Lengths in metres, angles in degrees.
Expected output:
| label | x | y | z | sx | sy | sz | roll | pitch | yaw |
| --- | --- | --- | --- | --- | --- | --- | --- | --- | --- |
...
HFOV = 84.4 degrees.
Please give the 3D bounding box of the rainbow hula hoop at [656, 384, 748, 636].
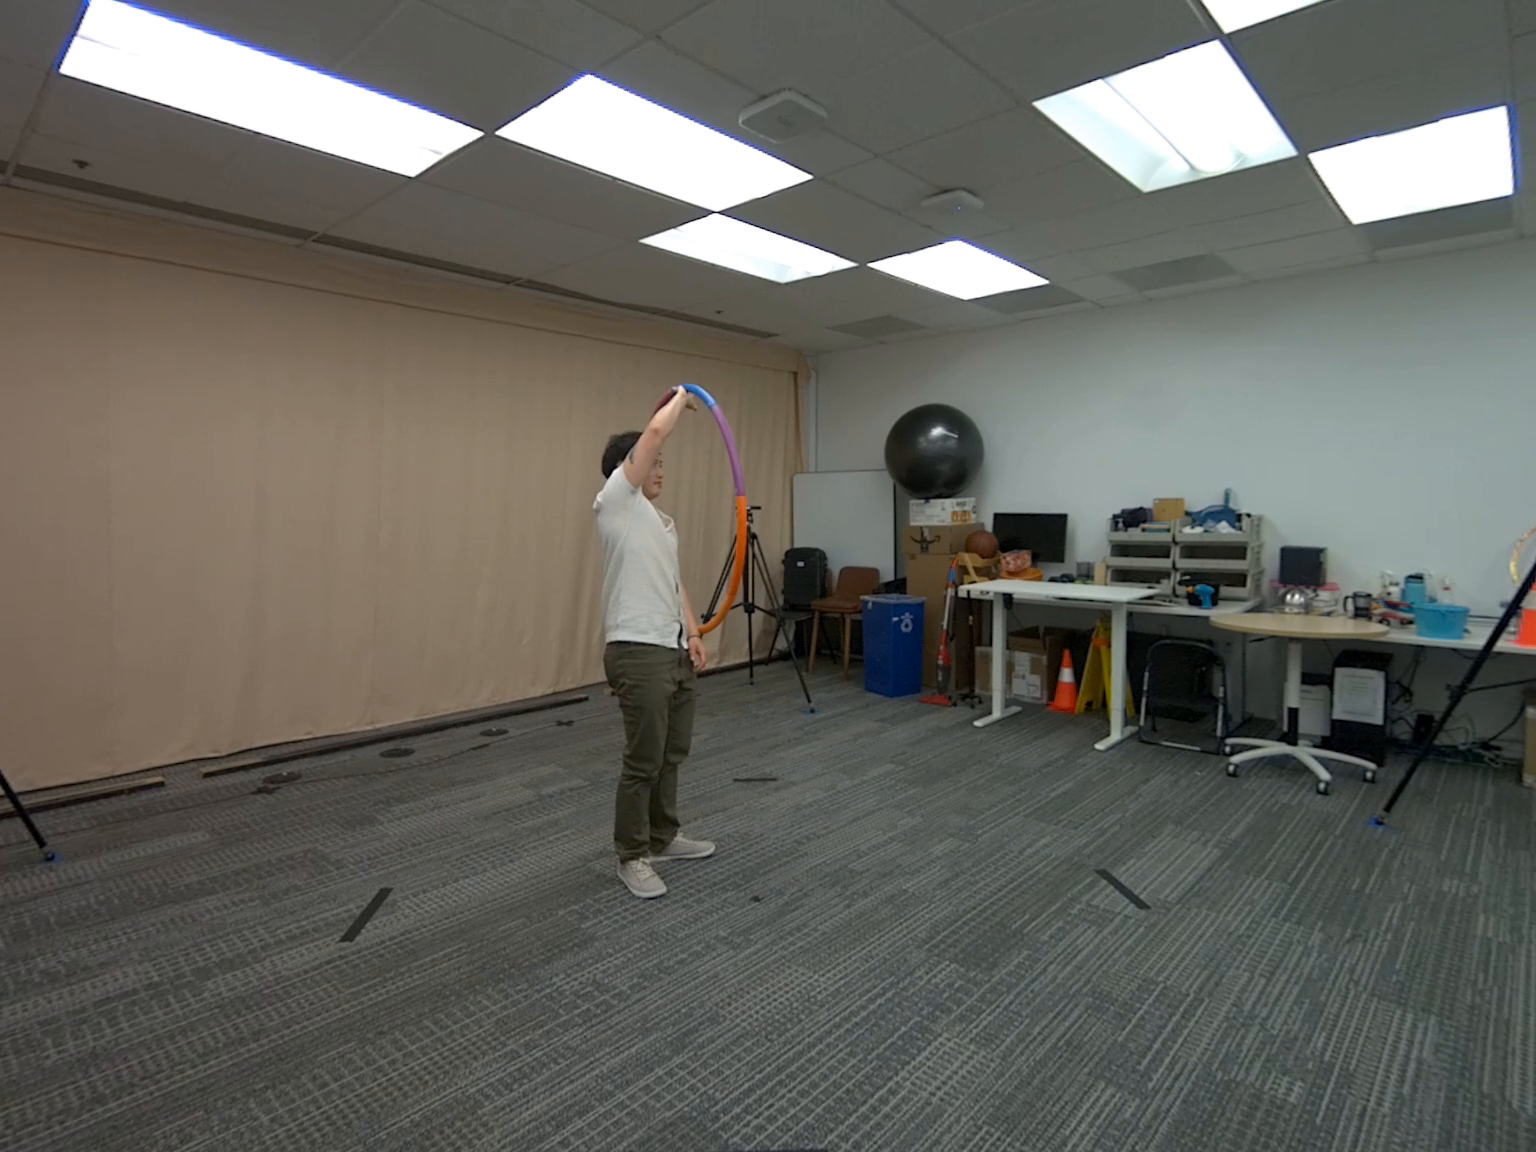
| label | x | y | z | sx | sy | sz | roll | pitch | yaw |
| --- | --- | --- | --- | --- | --- | --- | --- | --- | --- |
| rainbow hula hoop | -0.321 | -0.263 | 3.357 | 0.034 | 0.975 | 1.007 | -5 | 6 | -30 |
